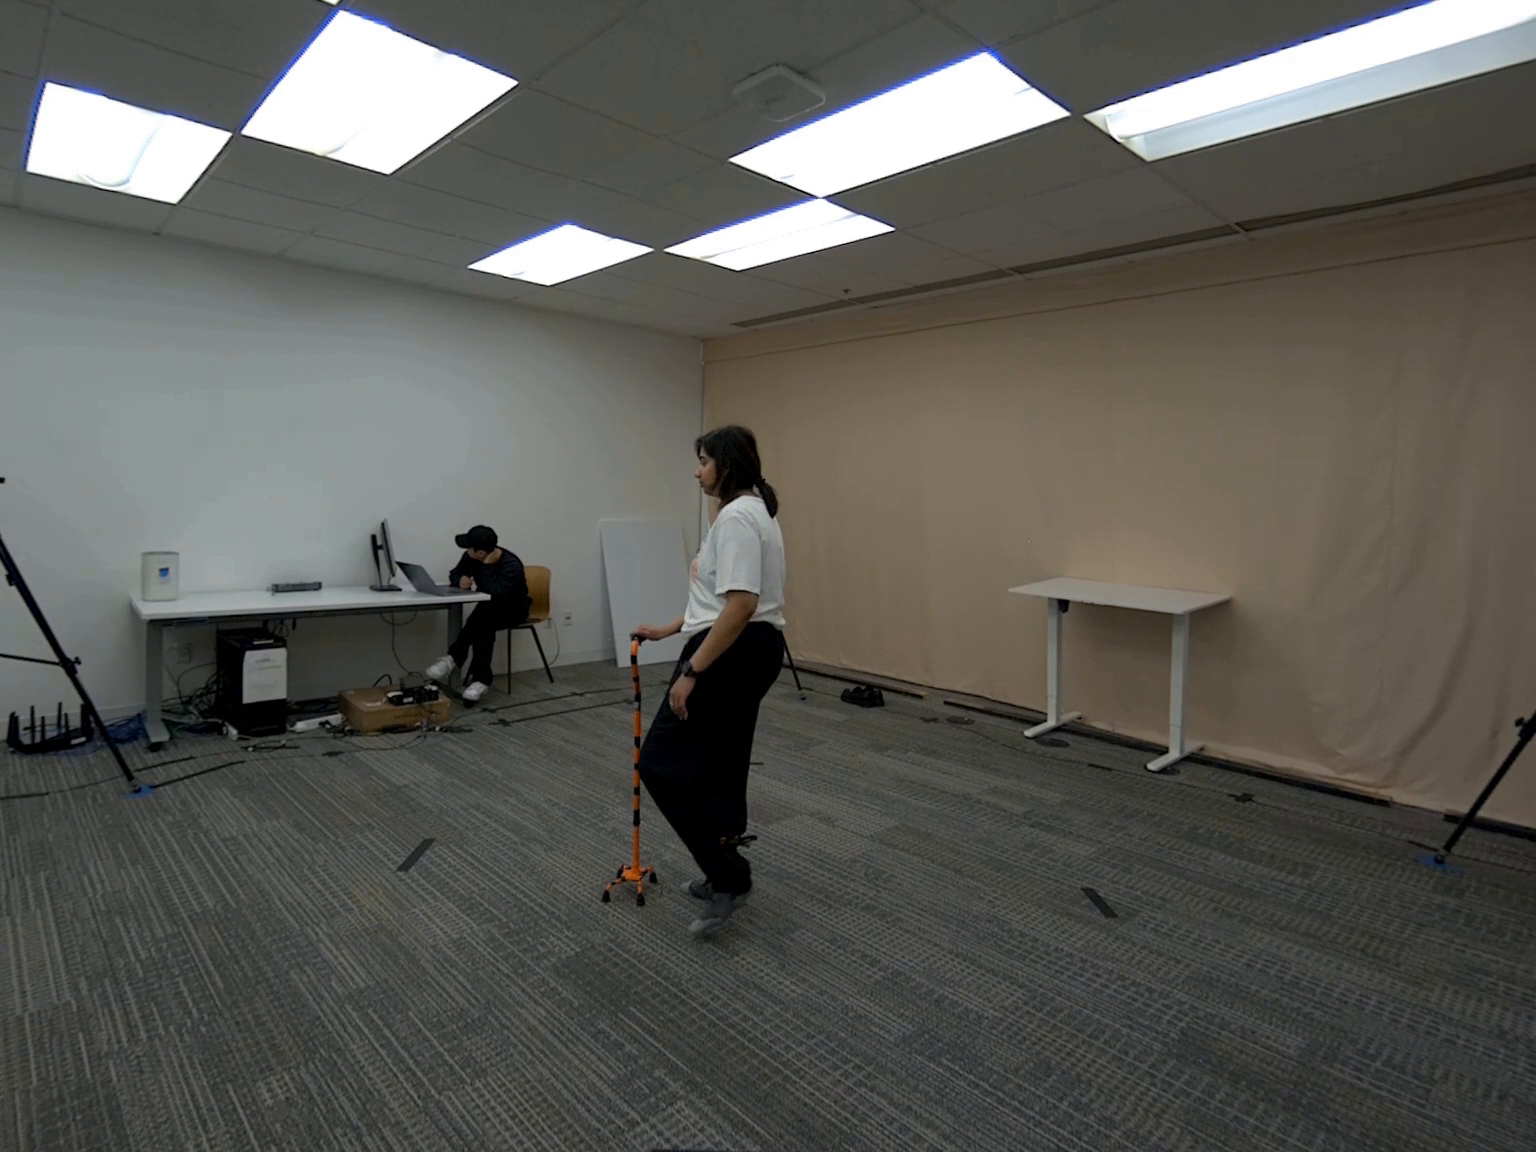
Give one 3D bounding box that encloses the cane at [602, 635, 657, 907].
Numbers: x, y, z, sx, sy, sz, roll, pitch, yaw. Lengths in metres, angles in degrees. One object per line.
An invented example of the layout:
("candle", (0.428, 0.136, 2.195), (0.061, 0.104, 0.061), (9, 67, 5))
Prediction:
("cane", (-0.483, 0.655, 2.944), (0.152, 0.906, 0.205), (1, 2, 7))
